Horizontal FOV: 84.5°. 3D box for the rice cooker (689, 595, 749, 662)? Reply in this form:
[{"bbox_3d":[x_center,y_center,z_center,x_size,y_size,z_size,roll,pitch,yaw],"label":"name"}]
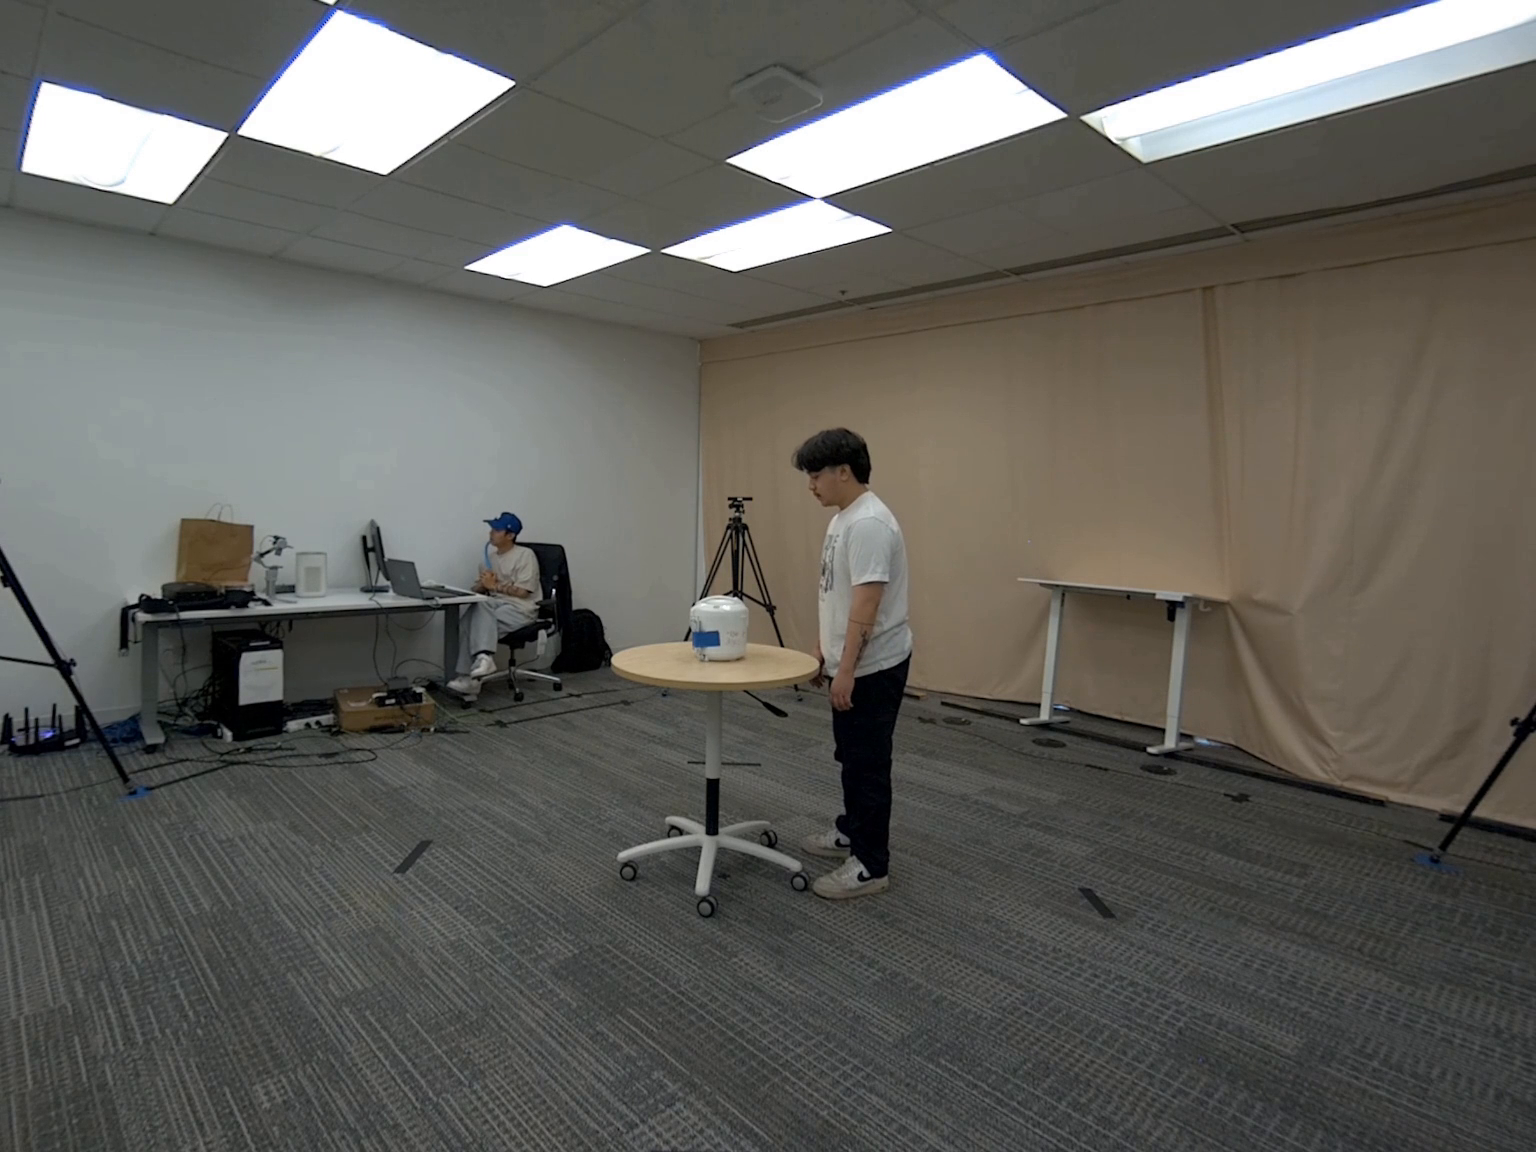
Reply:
[{"bbox_3d":[-0.189,0.185,3.148,0.220,0.232,0.219,1,5,-5],"label":"rice cooker"}]
